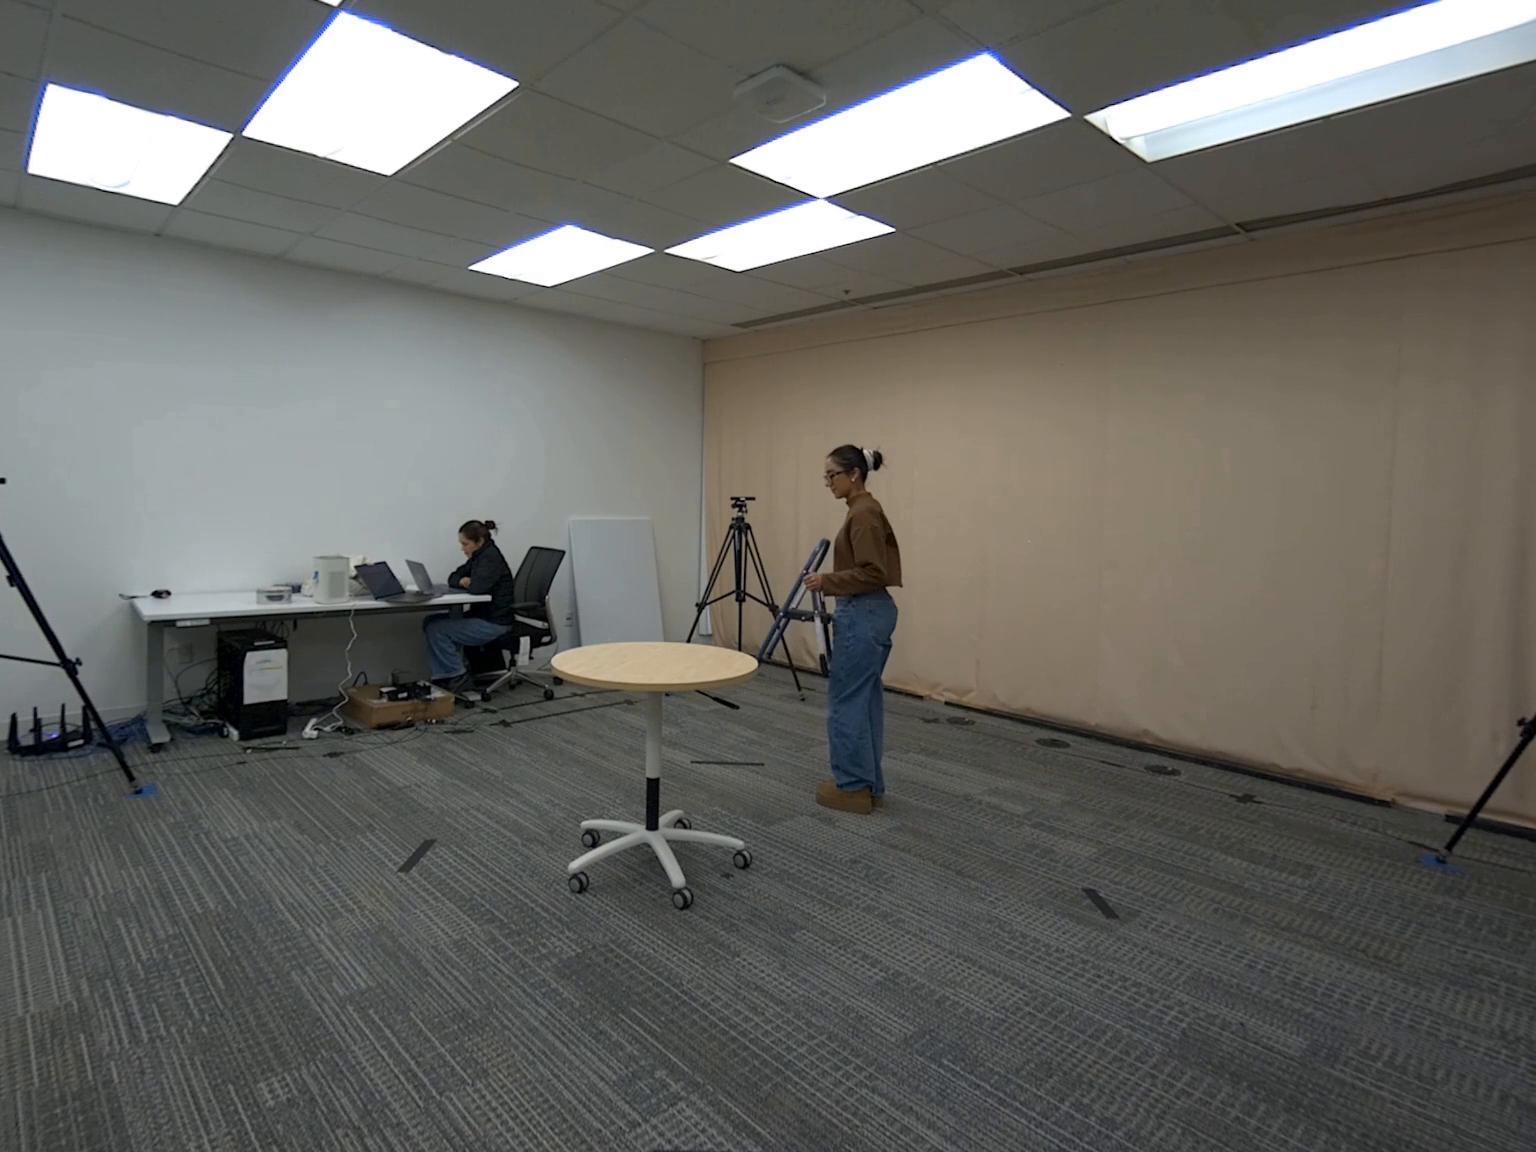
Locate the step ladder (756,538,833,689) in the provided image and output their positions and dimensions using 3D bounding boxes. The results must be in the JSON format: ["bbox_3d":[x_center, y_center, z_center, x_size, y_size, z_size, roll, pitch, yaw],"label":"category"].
[{"bbox_3d":[0.153,0.127,3.912,0.351,0.606,0.427,9,-1,6],"label":"step ladder"}]
